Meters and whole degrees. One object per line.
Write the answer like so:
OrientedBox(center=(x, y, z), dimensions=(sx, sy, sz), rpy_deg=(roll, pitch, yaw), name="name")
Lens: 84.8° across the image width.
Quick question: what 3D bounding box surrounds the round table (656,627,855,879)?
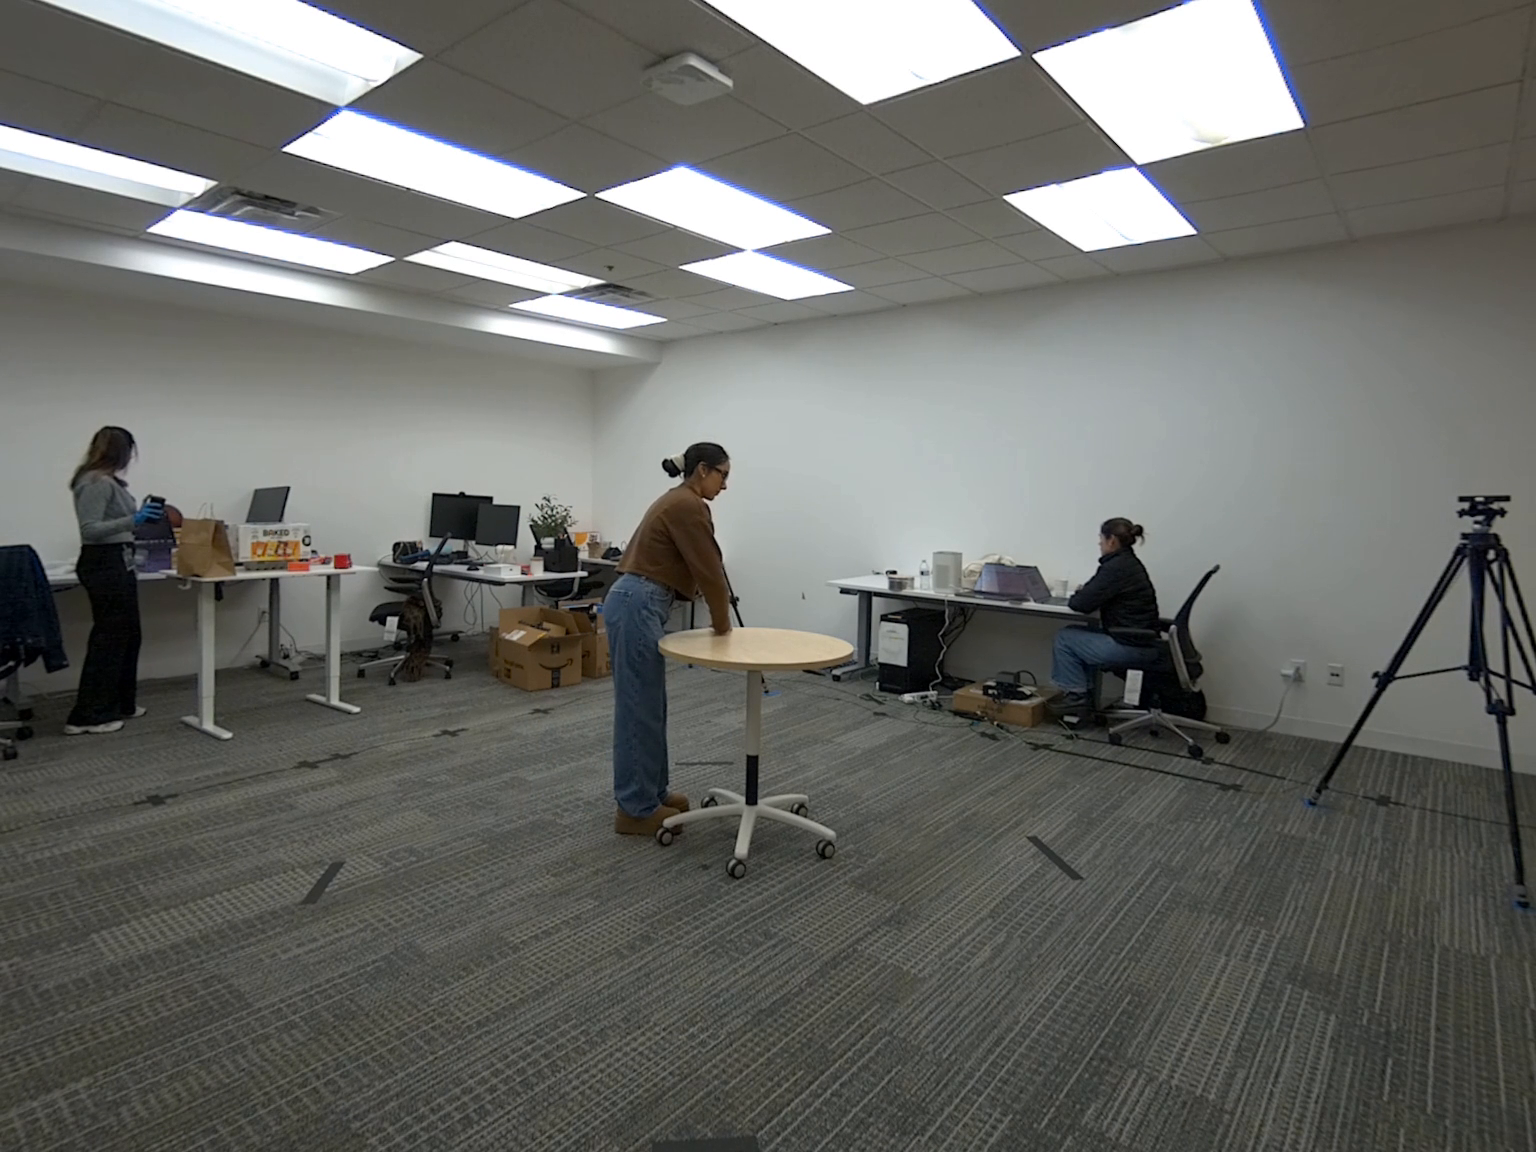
OrientedBox(center=(-0.068, 0.656, 3.365), dimensions=(0.763, 0.791, 0.768), rpy_deg=(1, 4, -2), name="round table")
